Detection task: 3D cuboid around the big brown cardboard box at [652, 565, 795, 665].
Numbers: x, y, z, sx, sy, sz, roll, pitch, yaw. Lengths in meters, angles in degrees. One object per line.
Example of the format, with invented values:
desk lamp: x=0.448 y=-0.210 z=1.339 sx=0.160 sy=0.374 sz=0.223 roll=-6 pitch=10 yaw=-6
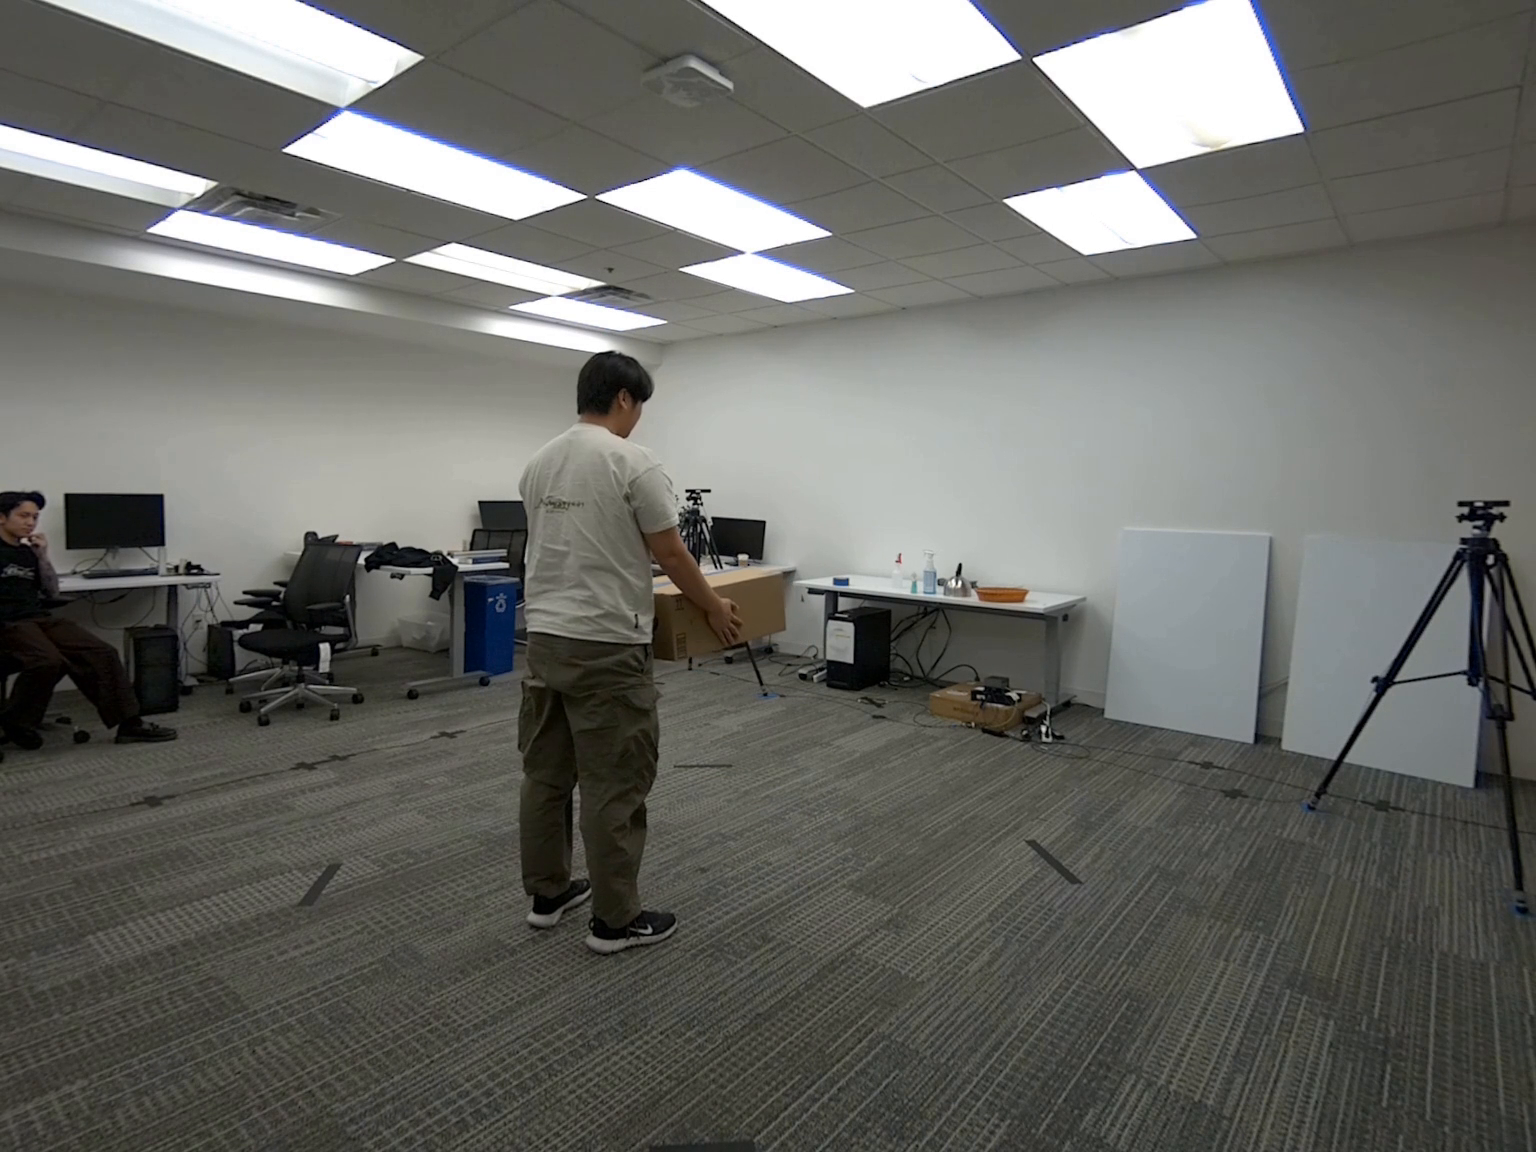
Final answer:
big brown cardboard box: x=-0.273 y=0.114 z=3.026 sx=0.431 sy=0.231 sz=0.574 roll=3 pitch=10 yaw=42
